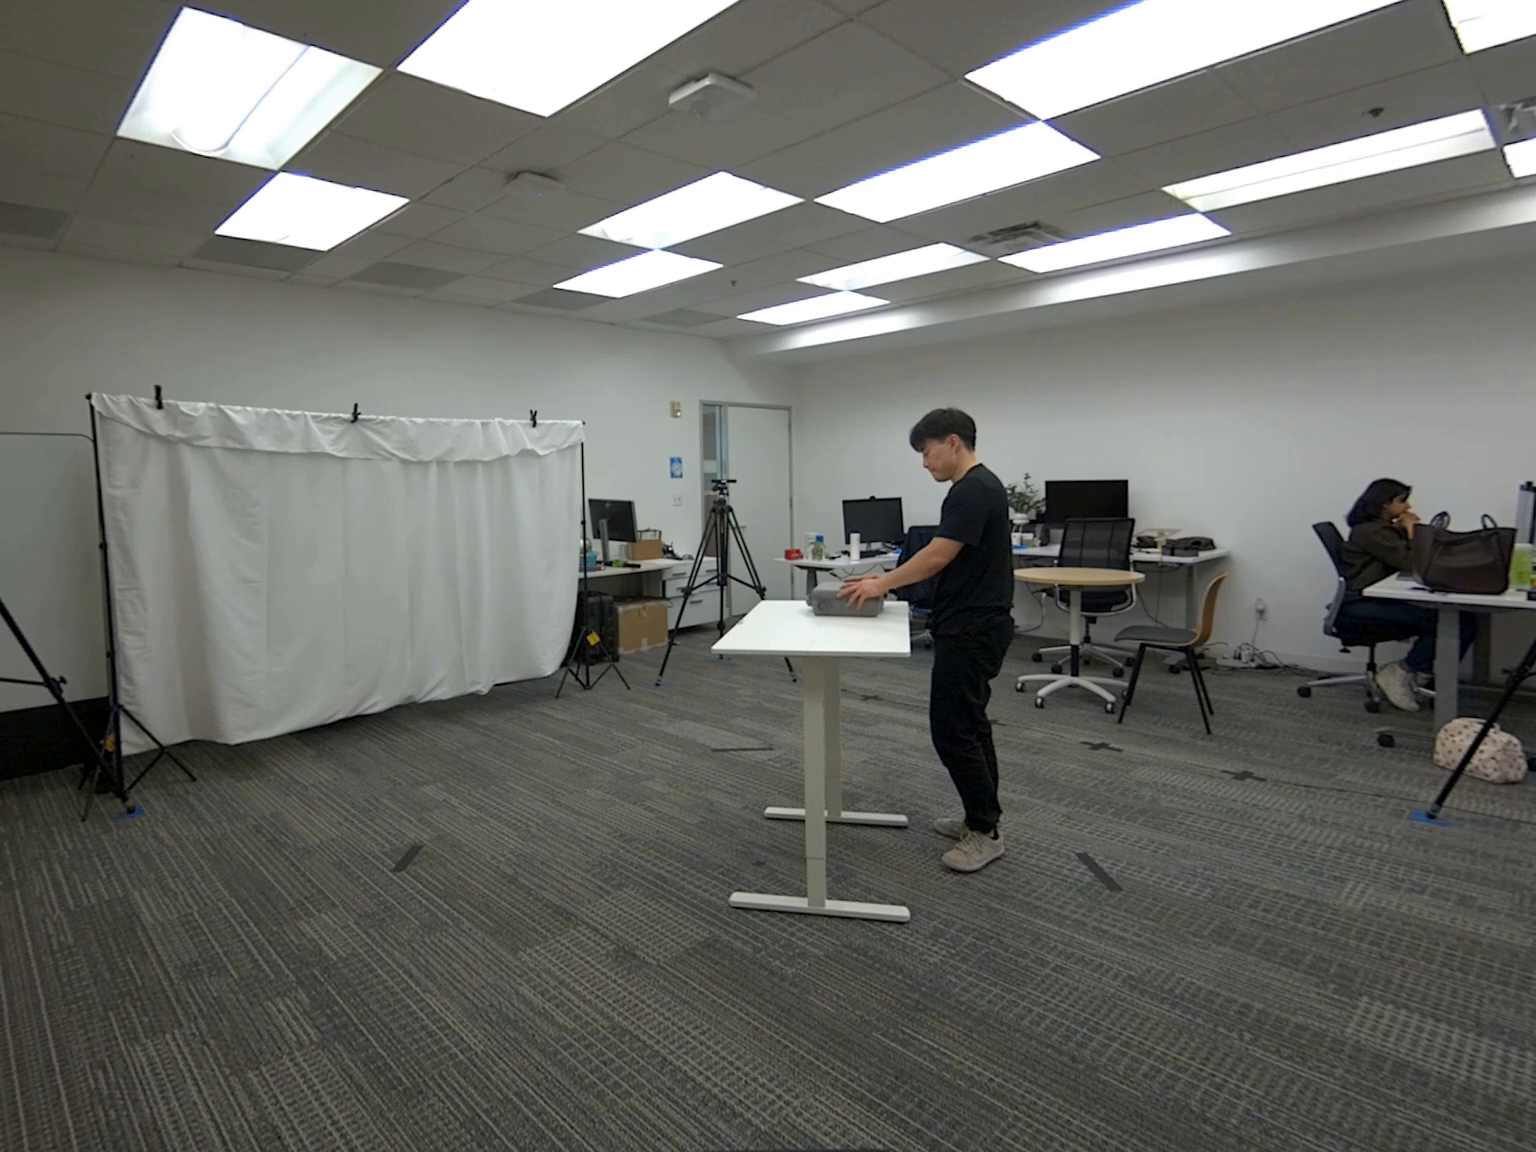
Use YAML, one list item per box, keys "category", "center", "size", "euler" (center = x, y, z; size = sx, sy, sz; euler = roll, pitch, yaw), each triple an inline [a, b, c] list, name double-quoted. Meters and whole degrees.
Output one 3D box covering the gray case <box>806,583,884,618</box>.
- category: "gray case"
  center: [0.307, 0.089, 3.276]
  size: [0.265, 0.104, 0.254]
  euler: [1, 7, 16]
